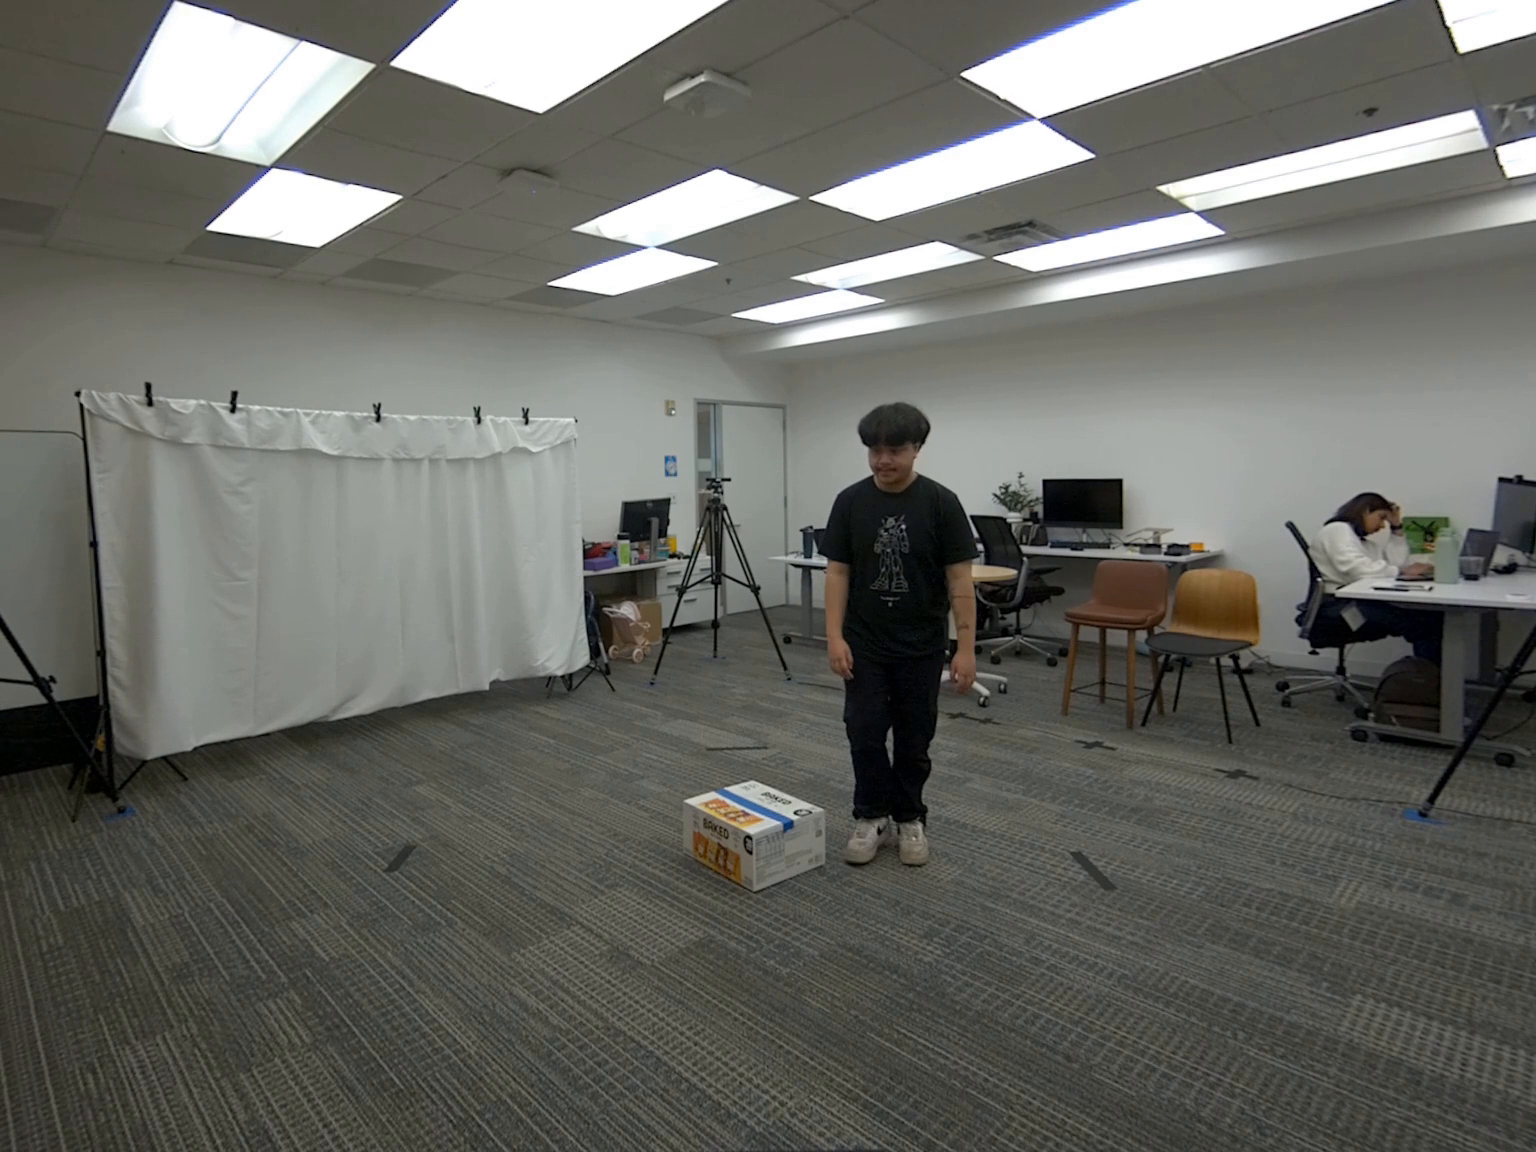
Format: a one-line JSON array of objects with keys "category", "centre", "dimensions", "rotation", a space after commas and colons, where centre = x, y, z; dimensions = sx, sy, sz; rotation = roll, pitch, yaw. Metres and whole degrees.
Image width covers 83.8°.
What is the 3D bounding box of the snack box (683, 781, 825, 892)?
[{"category": "snack box", "centre": [-0.053, 0.939, 3.124], "dimensions": [0.331, 0.205, 0.417], "rotation": [-6, 7, -40]}]
